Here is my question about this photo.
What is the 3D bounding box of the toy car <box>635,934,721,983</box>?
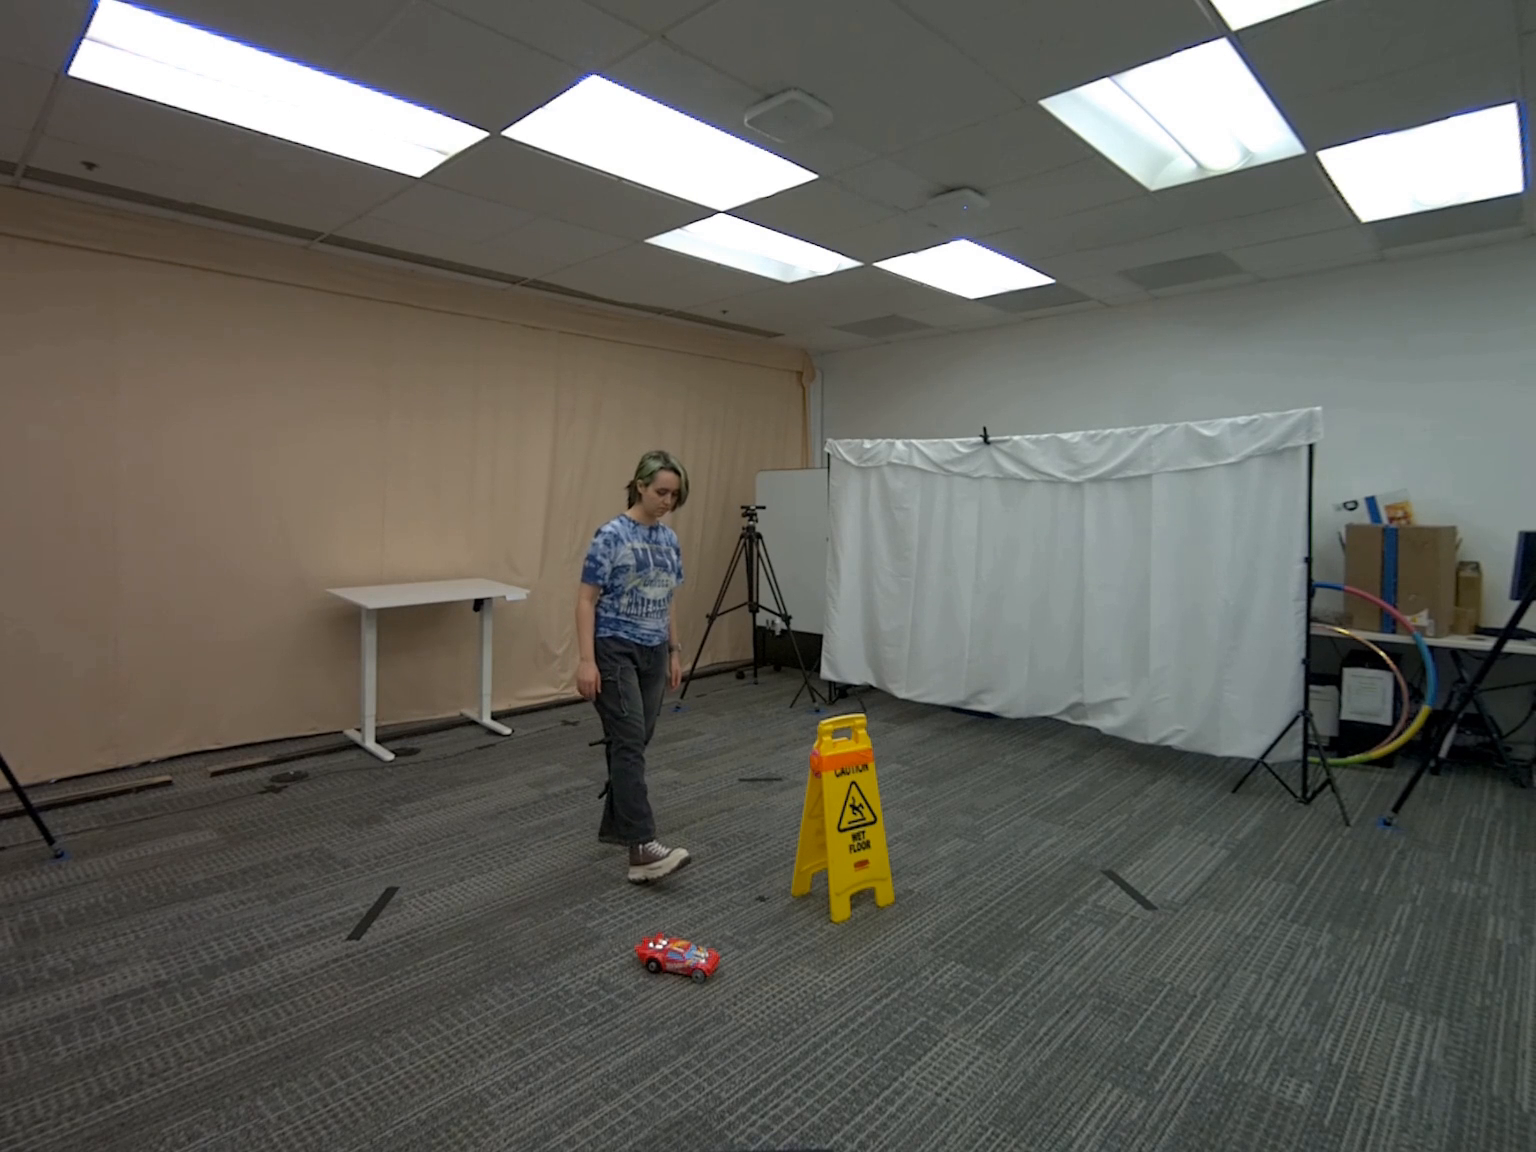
[{"bbox_3d":[-0.277,1.154,2.530,0.260,0.083,0.128,12,8,19],"label":"toy car"}]
